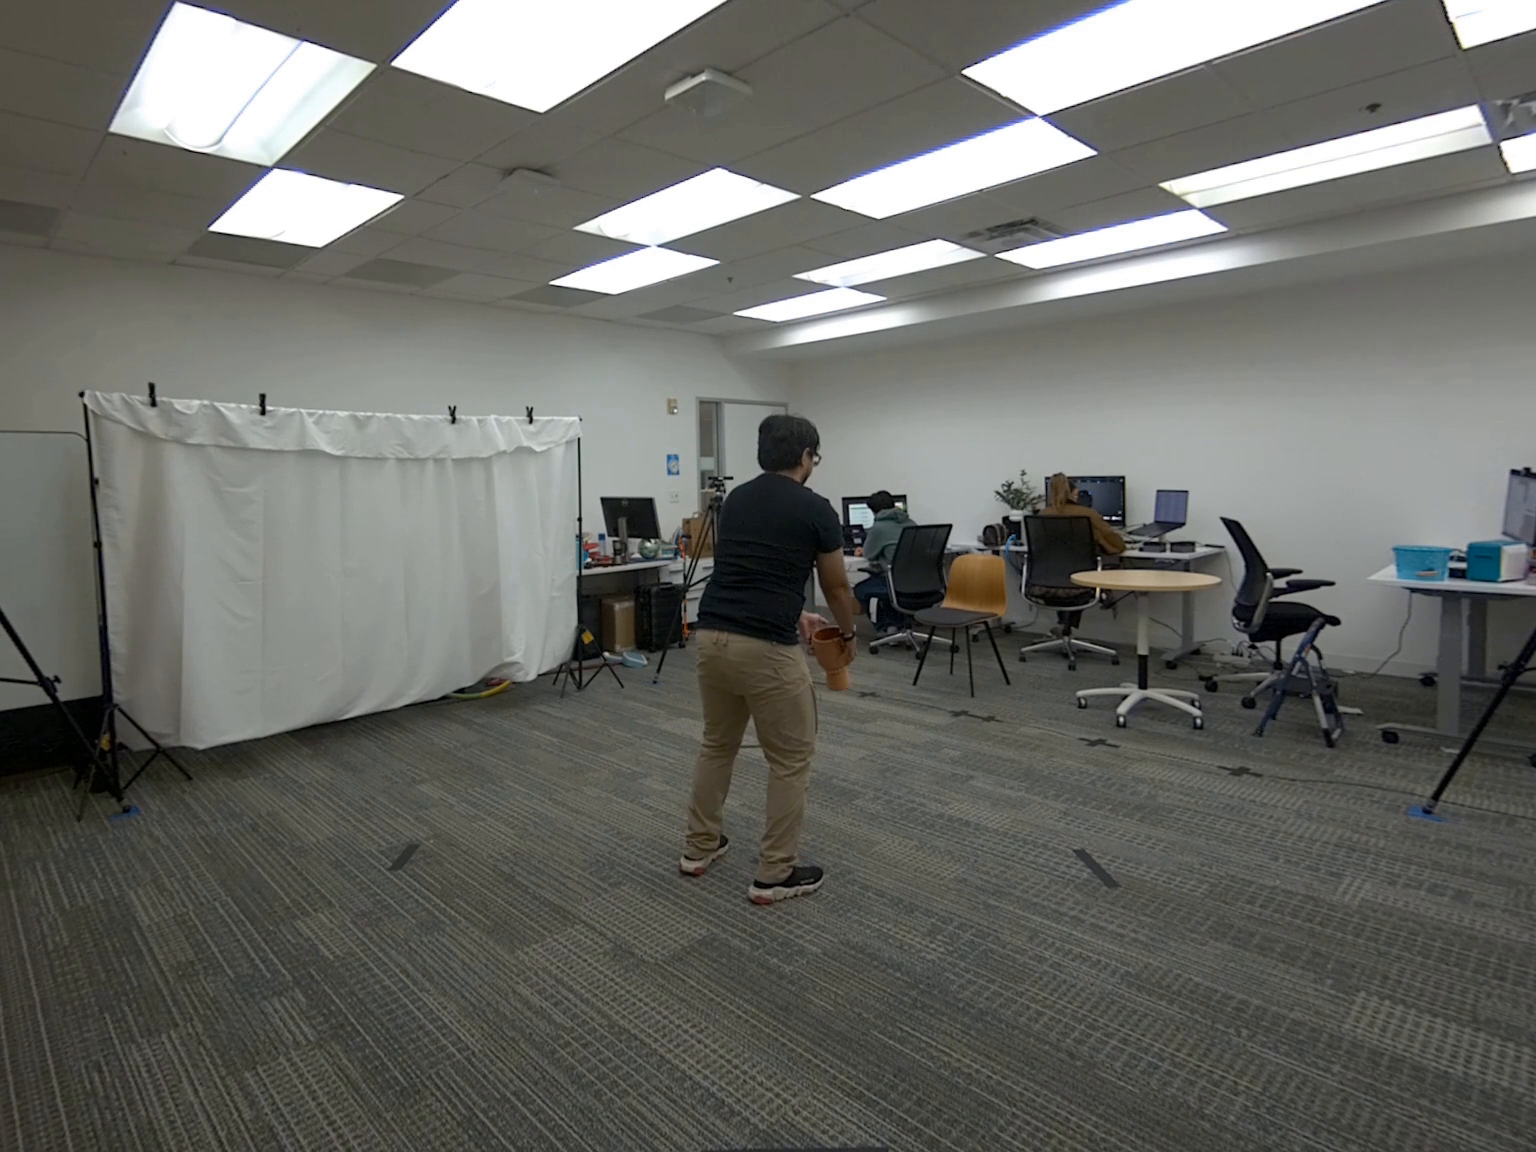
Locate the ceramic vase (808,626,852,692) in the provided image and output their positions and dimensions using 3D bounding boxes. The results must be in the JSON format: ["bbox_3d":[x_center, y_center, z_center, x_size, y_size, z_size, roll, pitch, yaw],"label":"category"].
[{"bbox_3d":[0.257,0.319,3.256,0.163,0.216,0.134,0,21,29],"label":"ceramic vase"}]
